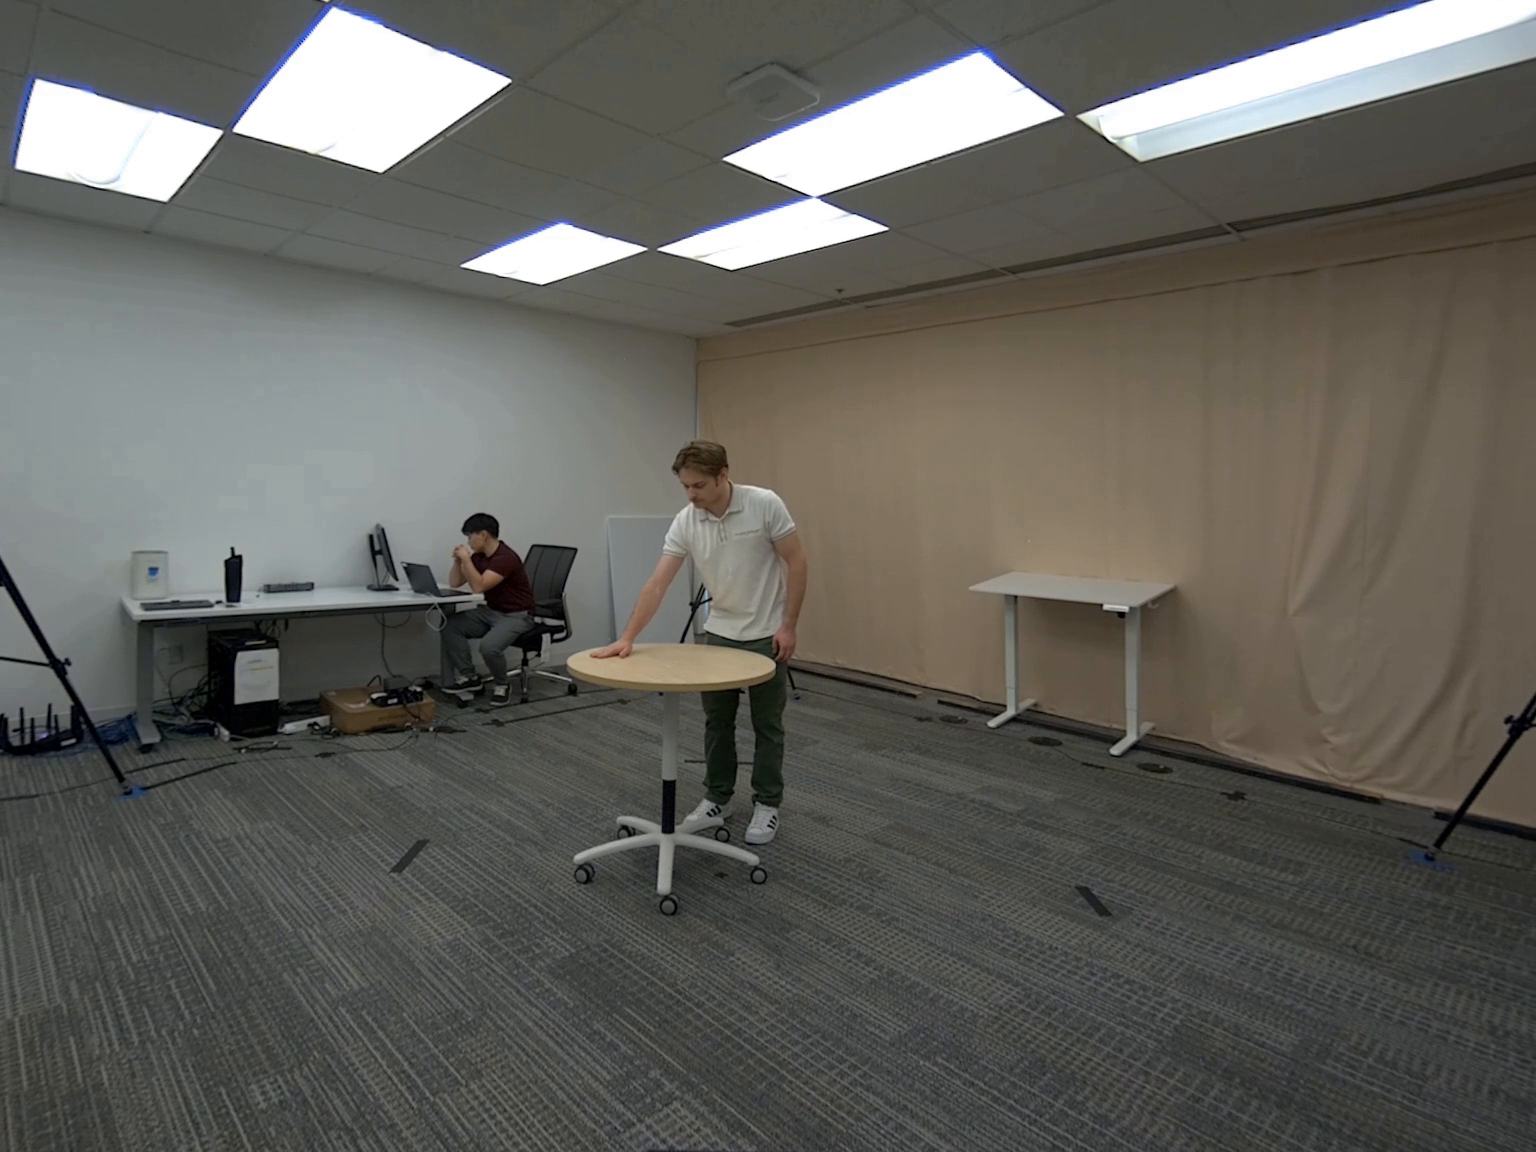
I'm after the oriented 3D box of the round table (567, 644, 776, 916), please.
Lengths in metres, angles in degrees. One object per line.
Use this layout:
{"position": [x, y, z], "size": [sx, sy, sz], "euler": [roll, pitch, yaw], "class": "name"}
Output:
{"position": [-0.386, 0.703, 3.118], "size": [0.784, 0.785, 0.787], "euler": [2, 4, -1], "class": "round table"}
